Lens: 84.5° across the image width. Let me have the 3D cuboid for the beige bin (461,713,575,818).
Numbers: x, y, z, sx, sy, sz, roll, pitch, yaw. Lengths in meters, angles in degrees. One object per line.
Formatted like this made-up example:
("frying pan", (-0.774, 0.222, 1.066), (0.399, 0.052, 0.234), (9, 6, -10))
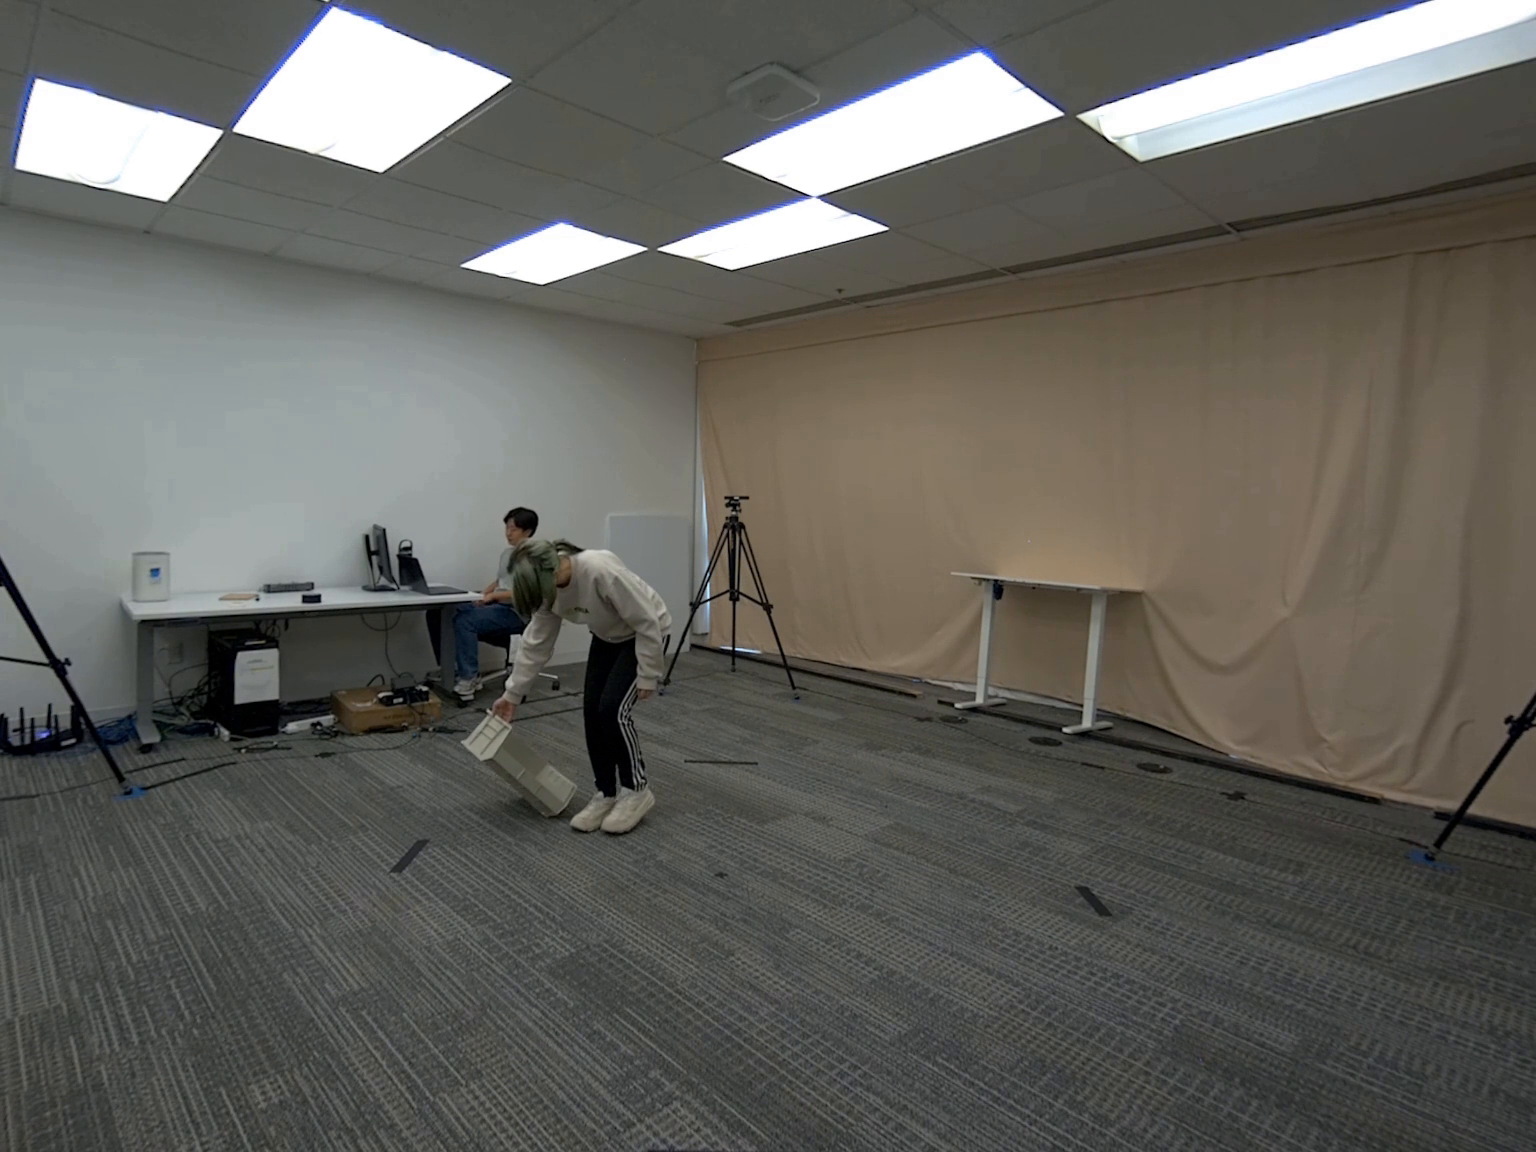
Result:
("beige bin", (-1.087, 0.820, 3.667), (0.189, 0.412, 0.386), (-50, 28, -22))
